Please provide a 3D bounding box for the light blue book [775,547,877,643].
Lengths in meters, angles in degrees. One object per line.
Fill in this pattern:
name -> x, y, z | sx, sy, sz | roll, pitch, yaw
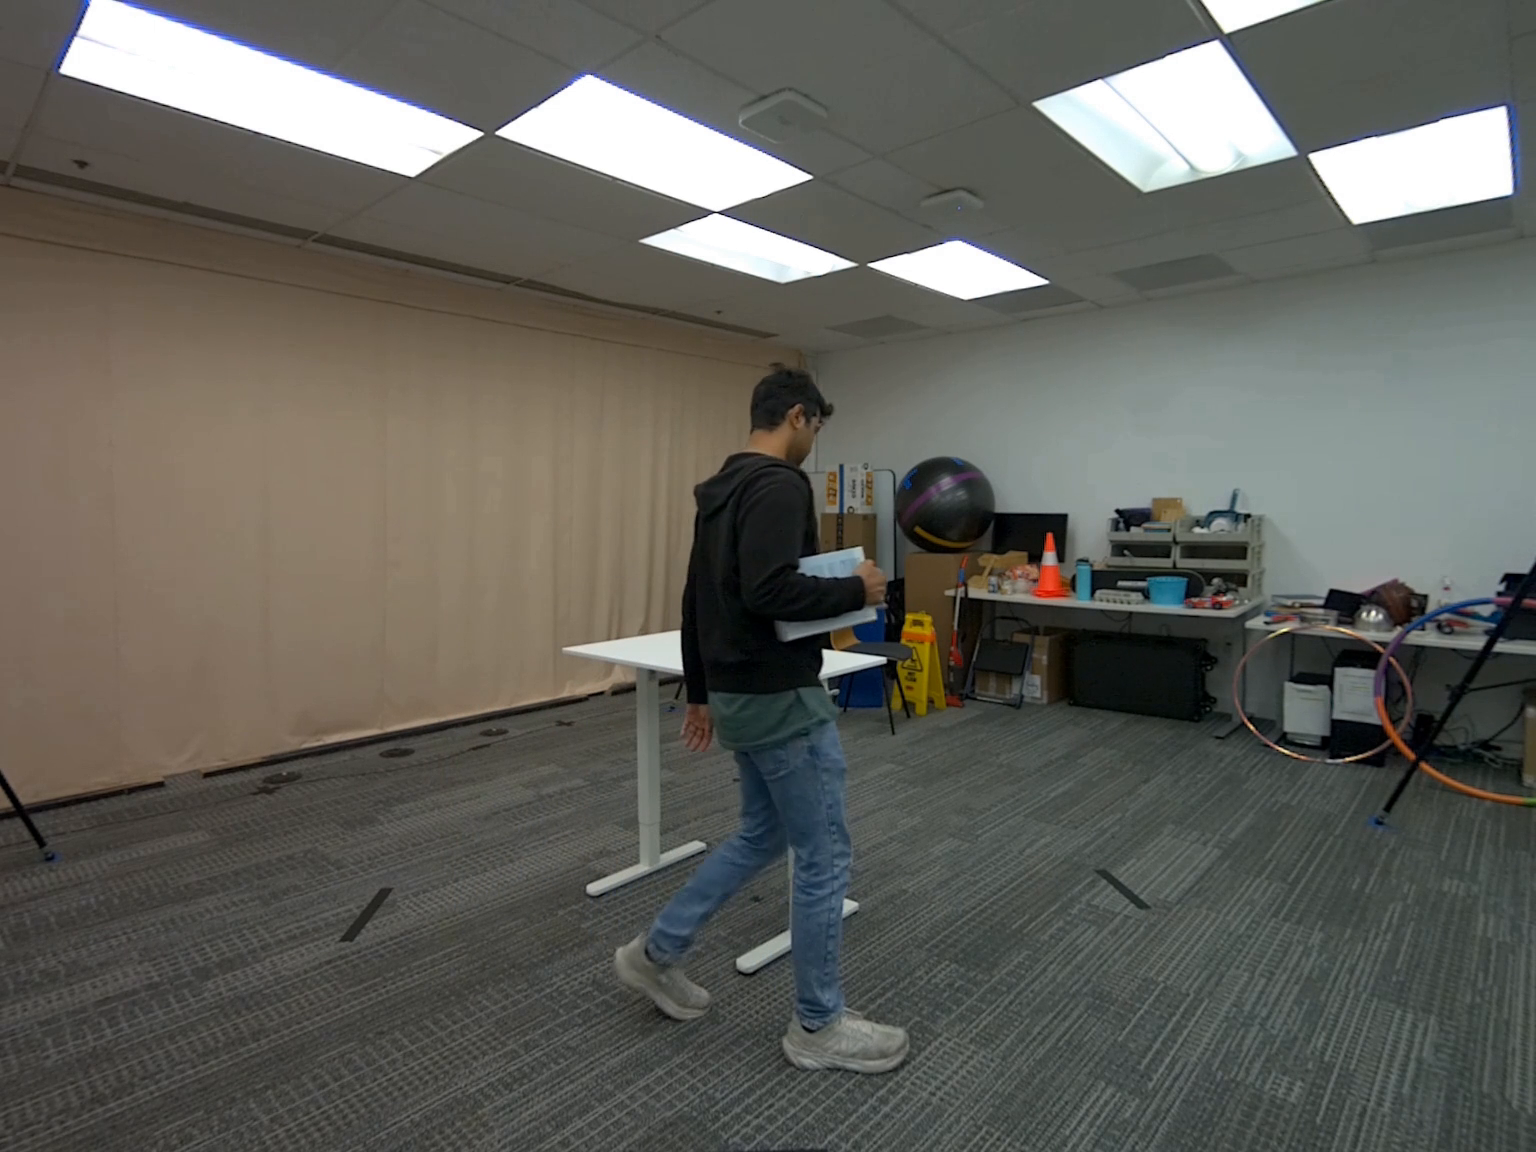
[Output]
light blue book -> 0.122, 0.039, 2.093 | 0.256, 0.192, 0.059 | -11, -8, -19
